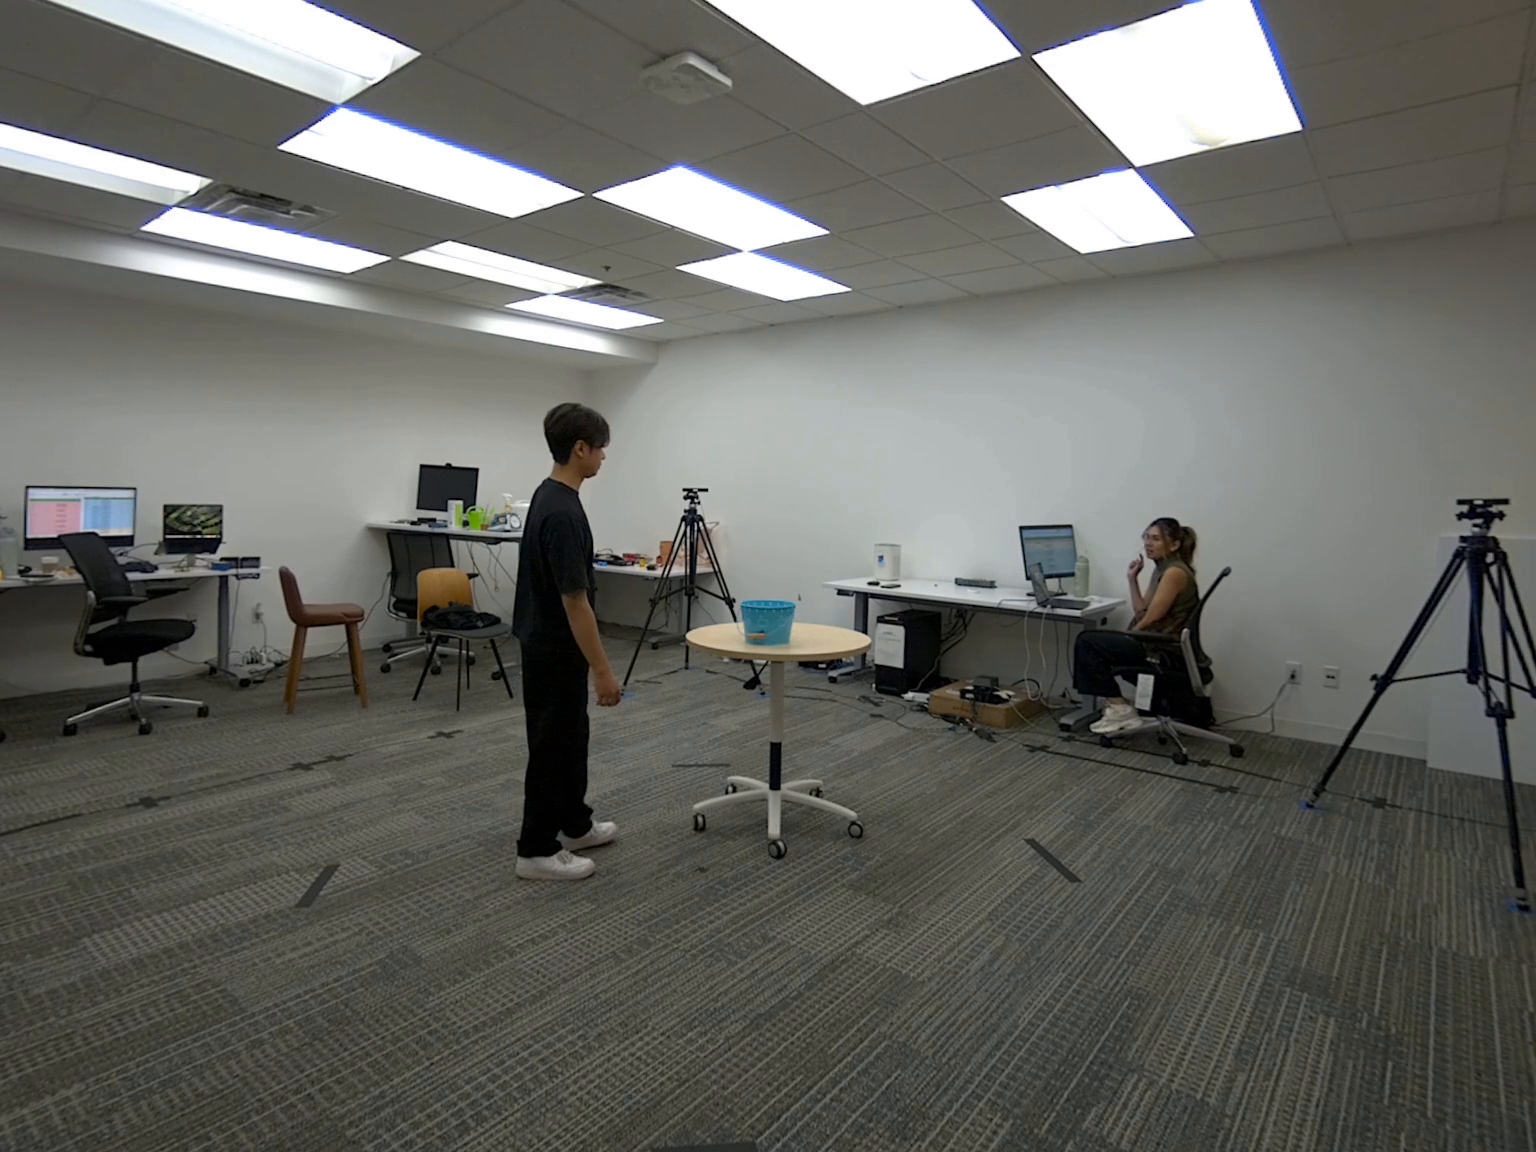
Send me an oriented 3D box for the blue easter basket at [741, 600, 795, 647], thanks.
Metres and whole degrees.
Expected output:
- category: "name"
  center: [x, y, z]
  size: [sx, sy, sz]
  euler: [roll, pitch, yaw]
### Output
- category: "blue easter basket"
  center: [-0.016, 0.186, 3.439]
  size: [0.243, 0.155, 0.245]
  euler: [1, 5, -2]
